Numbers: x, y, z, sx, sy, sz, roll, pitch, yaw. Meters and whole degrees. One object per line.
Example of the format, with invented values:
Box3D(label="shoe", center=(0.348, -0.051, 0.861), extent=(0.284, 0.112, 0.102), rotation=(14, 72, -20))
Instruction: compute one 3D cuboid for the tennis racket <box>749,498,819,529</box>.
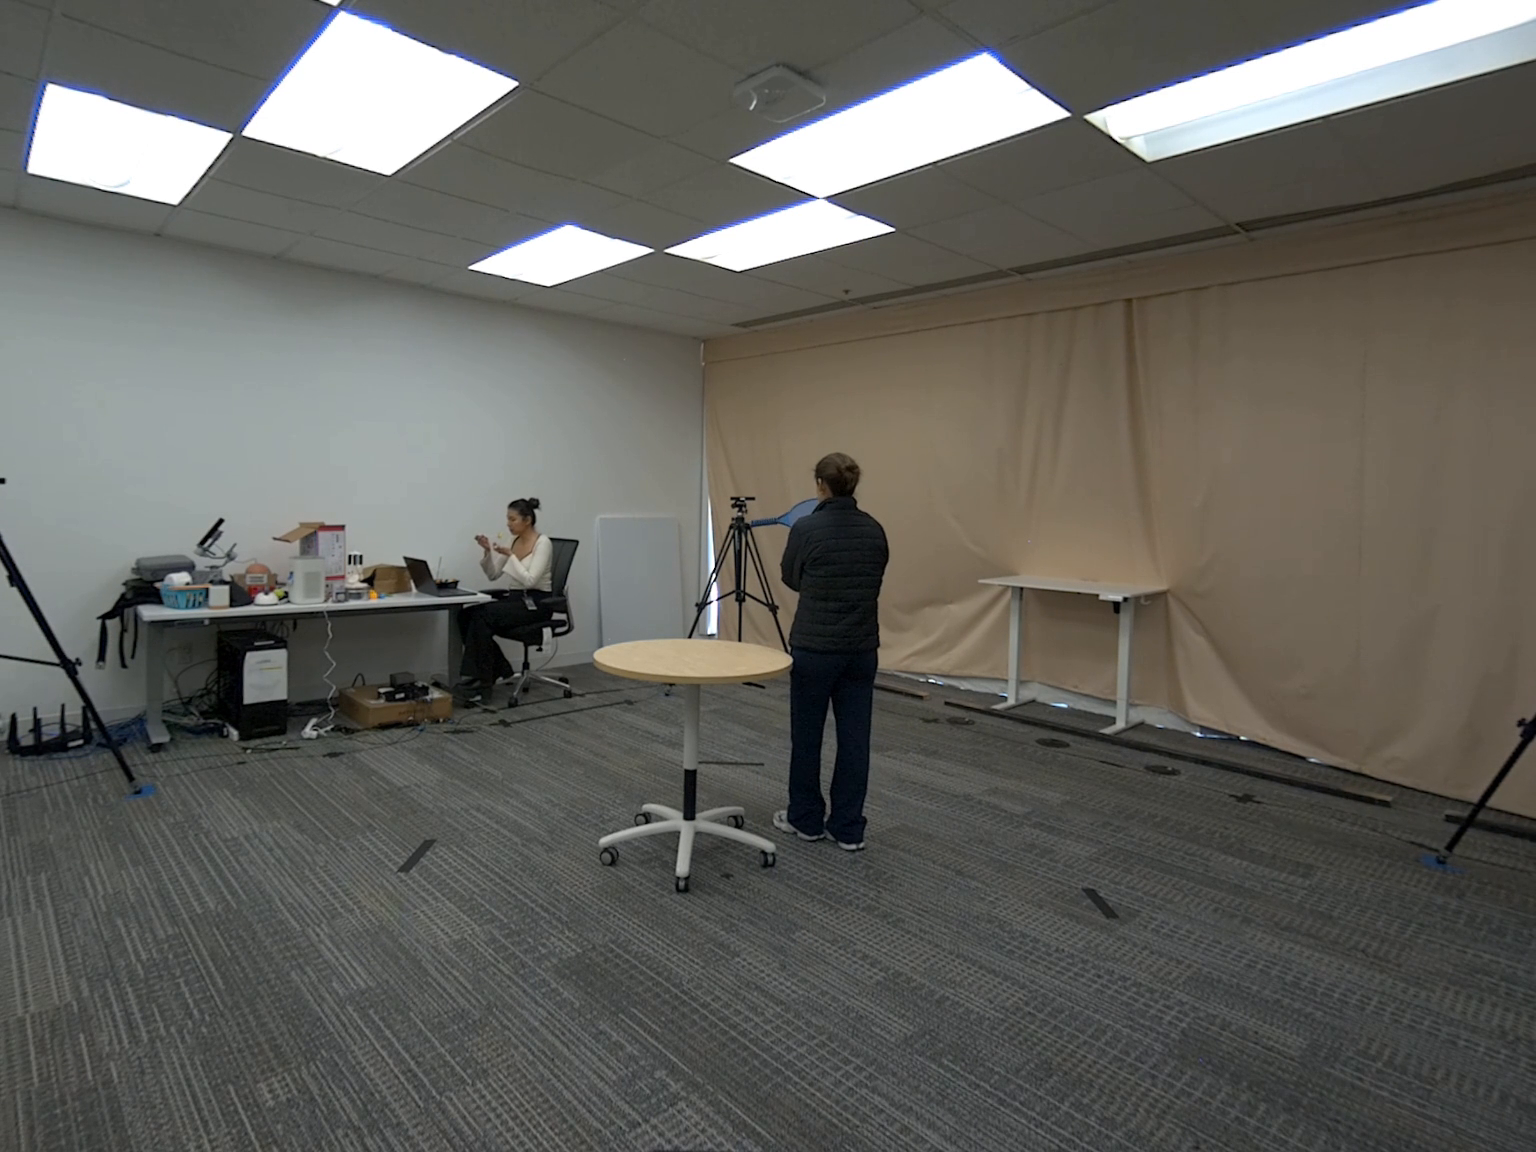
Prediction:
Box3D(label="tennis racket", center=(0.125, -0.259, 3.750), extent=(0.433, 0.219, 0.031), rotation=(-7, -38, 2))
